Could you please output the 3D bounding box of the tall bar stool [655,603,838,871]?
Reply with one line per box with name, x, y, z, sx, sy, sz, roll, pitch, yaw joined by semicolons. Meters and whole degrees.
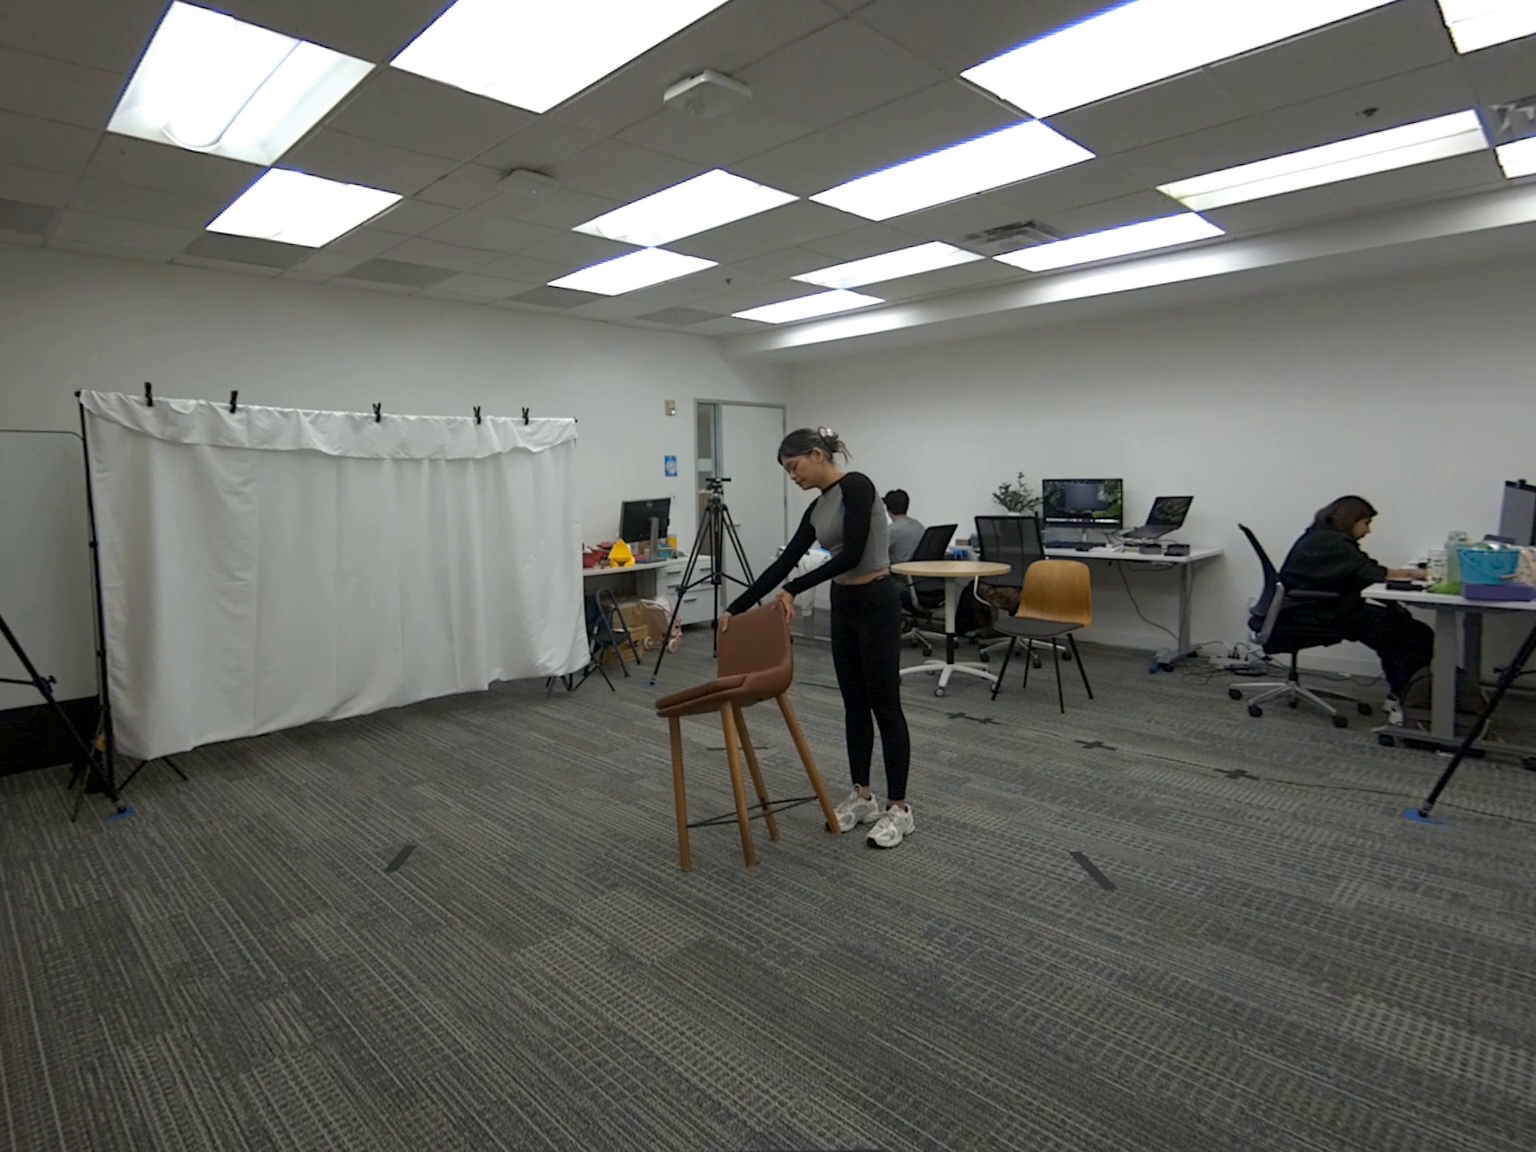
tall bar stool;-0.112;0.562;3.148;0.454;0.903;0.463;-1;-17;-40
